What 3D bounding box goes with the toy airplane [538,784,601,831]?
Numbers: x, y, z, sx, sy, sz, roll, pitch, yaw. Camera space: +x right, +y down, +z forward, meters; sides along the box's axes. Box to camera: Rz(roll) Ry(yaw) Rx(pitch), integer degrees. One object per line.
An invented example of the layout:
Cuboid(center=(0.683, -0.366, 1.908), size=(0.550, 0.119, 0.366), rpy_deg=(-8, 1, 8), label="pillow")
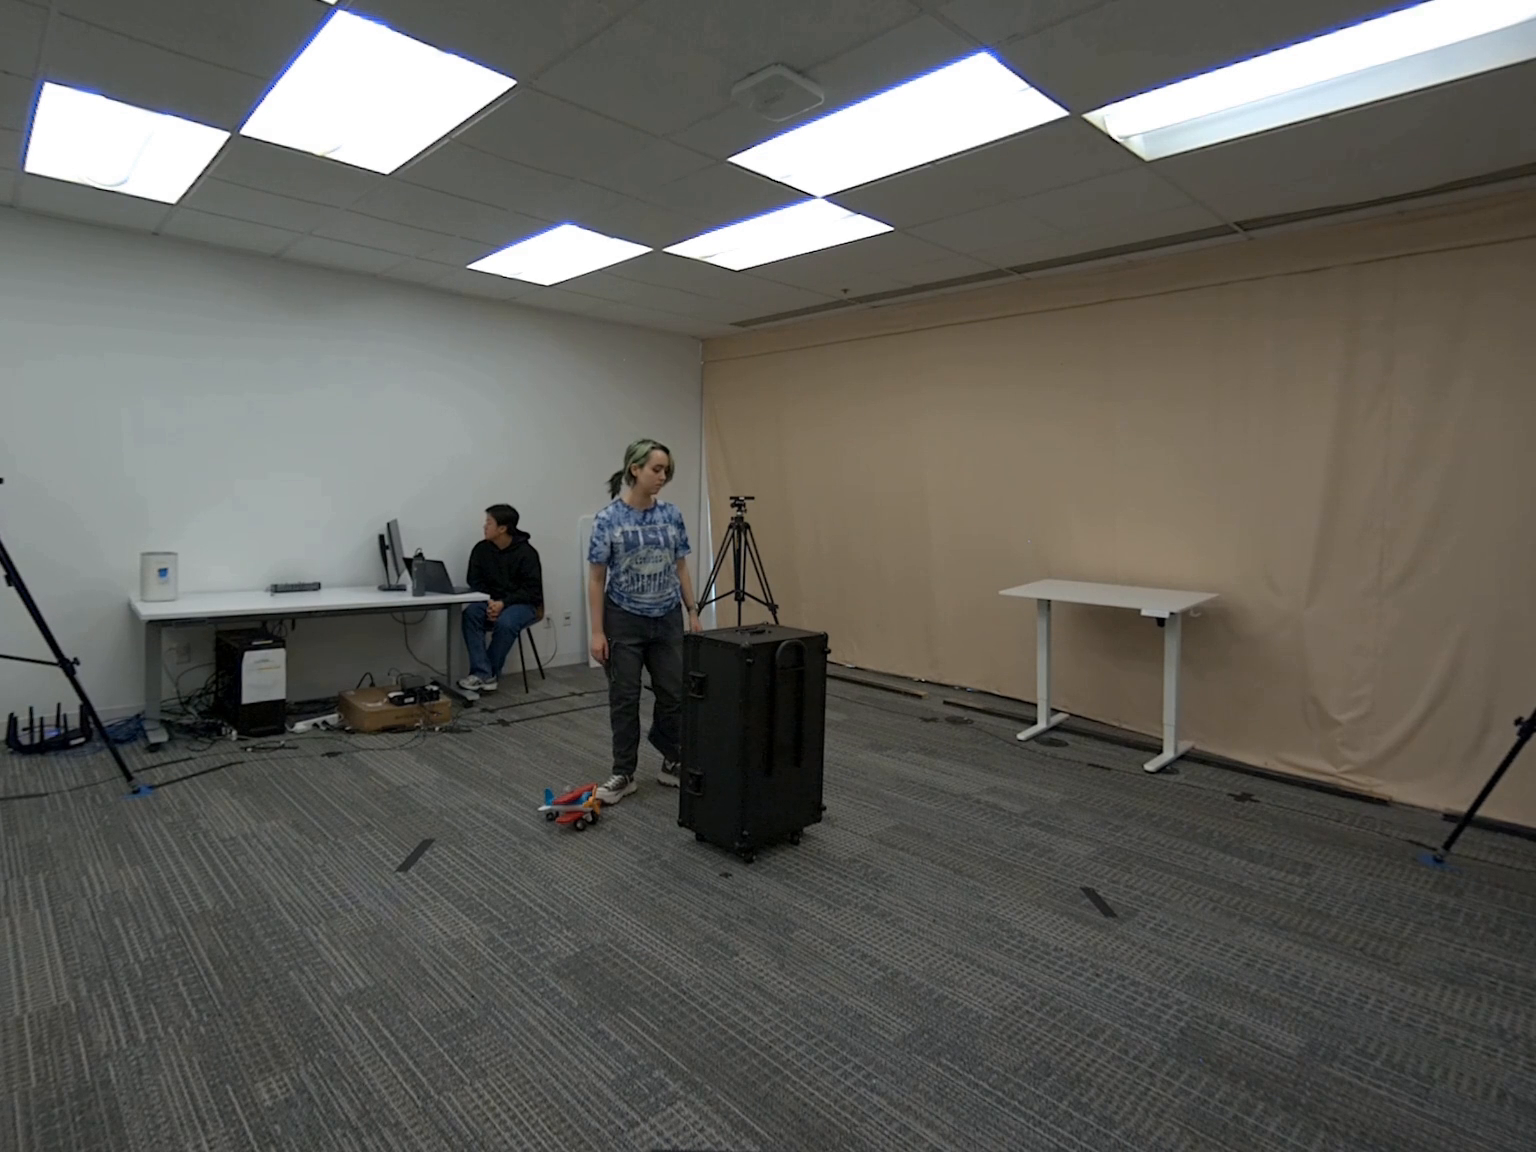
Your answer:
Cuboid(center=(-0.846, 0.964, 3.537), size=(0.259, 0.156, 0.252), rpy_deg=(1, 5, -3), label="toy airplane")
